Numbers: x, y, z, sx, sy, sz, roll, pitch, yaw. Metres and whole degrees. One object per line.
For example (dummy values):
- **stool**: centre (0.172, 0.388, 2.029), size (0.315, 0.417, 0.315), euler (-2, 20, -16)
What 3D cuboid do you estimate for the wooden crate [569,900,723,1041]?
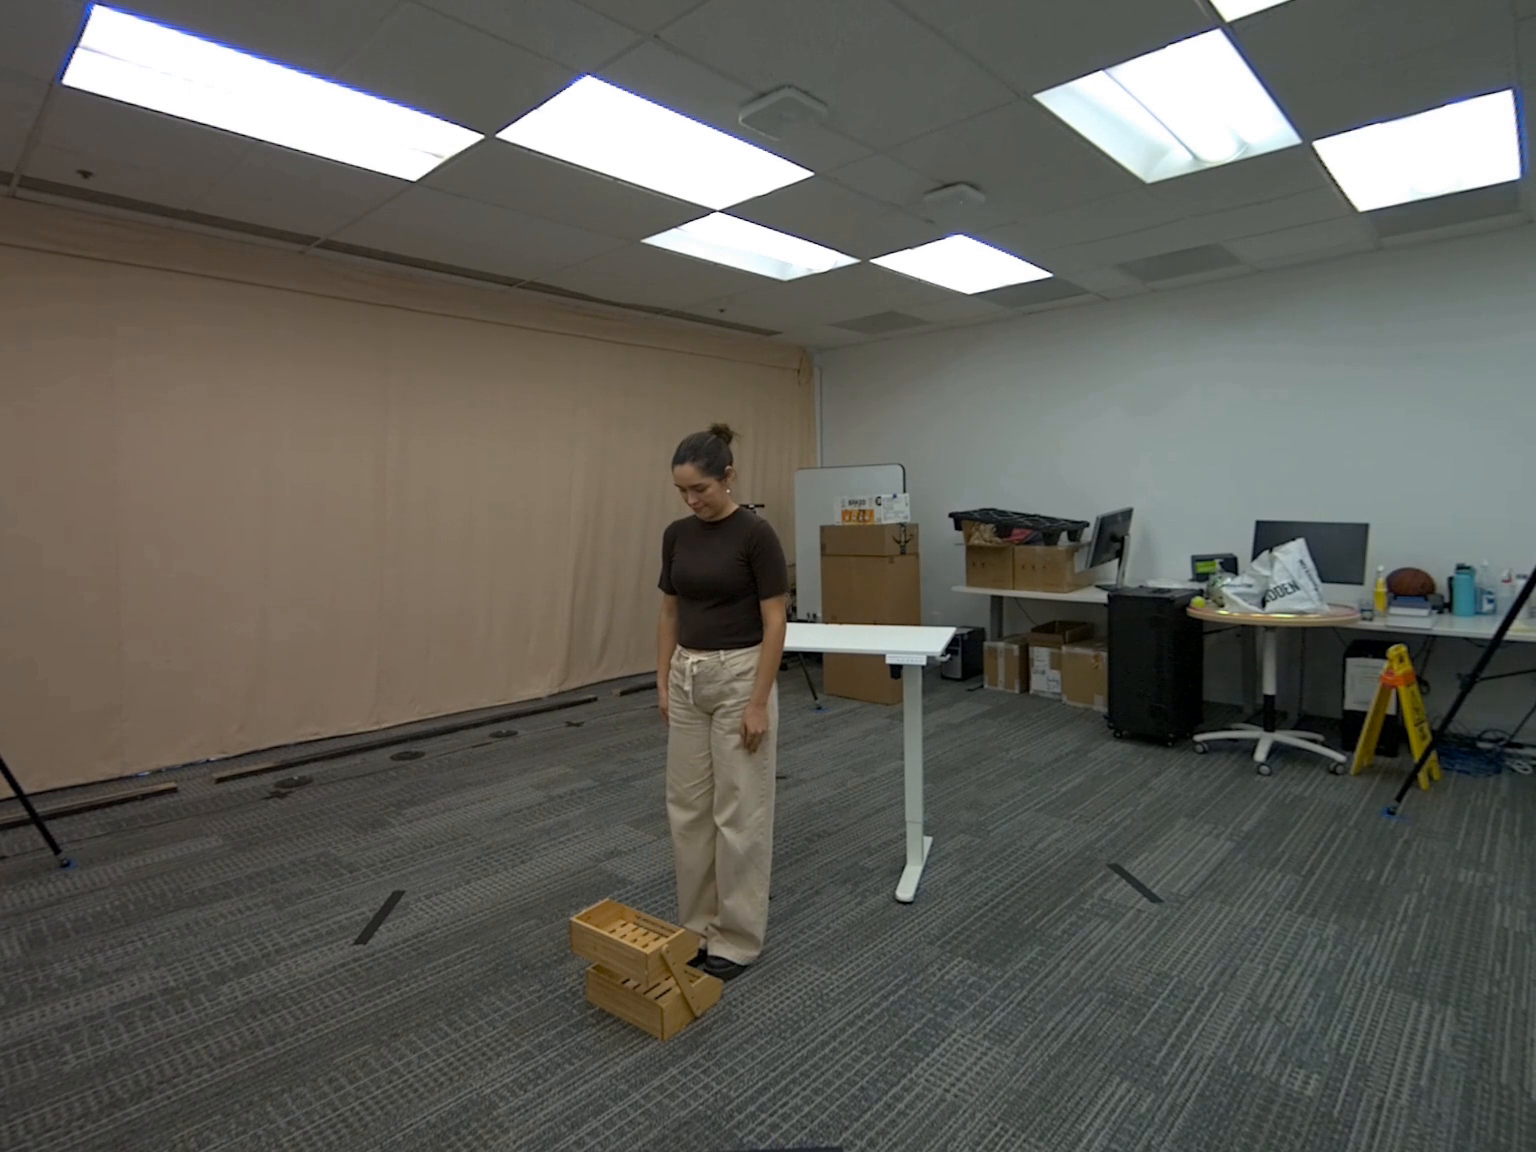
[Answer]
- **wooden crate**: centre (-0.338, 1.066, 2.352), size (0.335, 0.272, 0.293), euler (1, 5, 37)
